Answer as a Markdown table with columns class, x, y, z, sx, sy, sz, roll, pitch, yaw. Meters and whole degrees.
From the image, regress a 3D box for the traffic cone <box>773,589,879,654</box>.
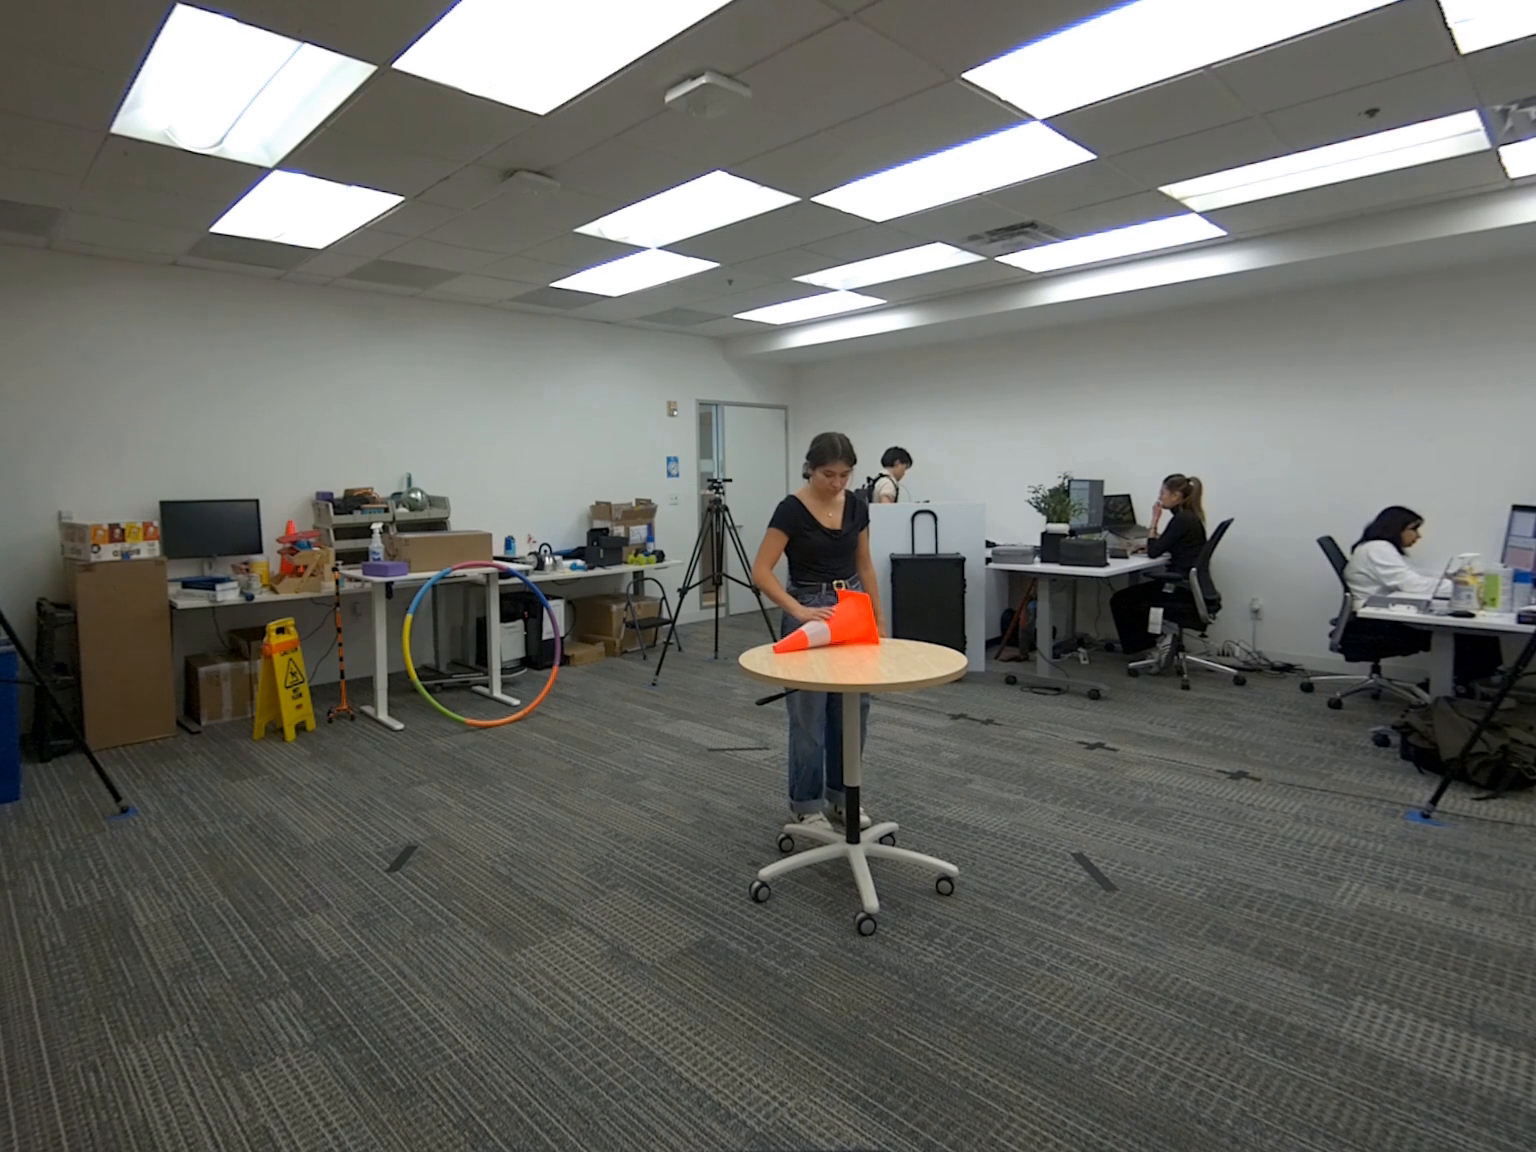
| class | x | y | z | sx | sy | sz | roll | pitch | yaw |
| --- | --- | --- | --- | --- | --- | --- | --- | --- | --- |
| traffic cone | 0.178 | 0.209 | 3.109 | 0.377 | 0.202 | 0.209 | -18 | 14 | -29 |
